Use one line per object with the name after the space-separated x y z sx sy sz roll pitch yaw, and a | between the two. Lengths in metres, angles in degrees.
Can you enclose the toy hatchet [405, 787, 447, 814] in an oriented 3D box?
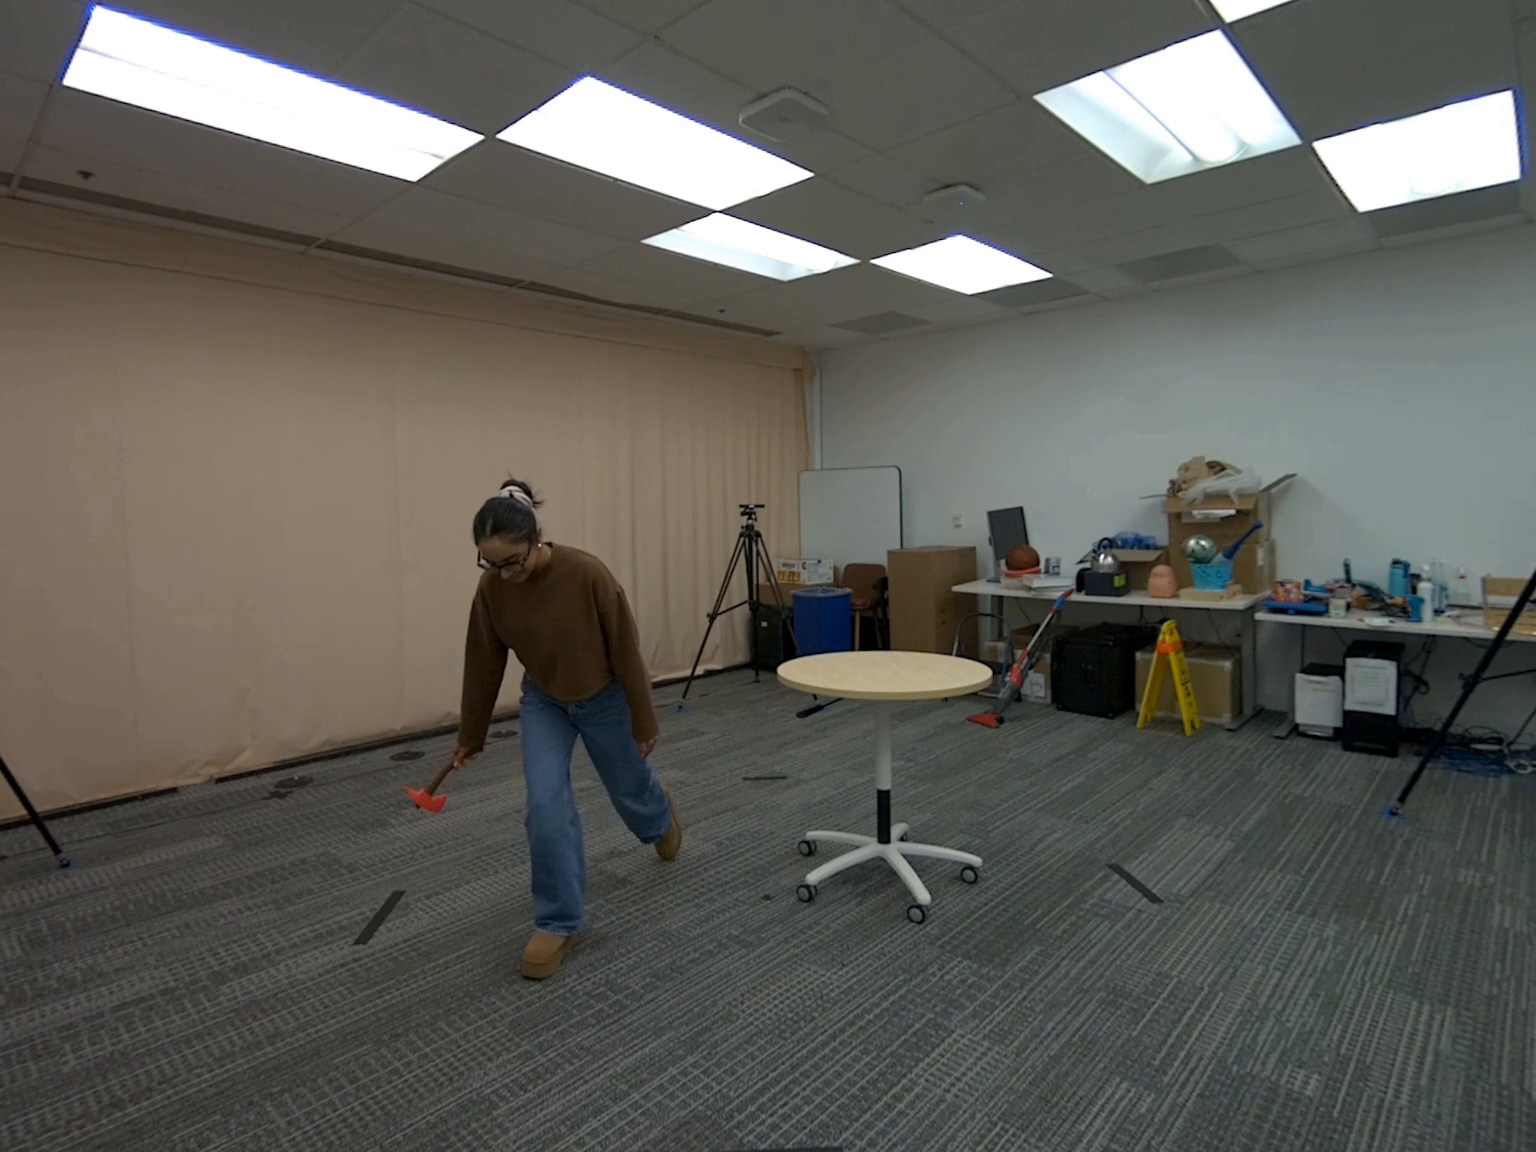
-1.010 0.661 2.712 0.267 0.130 0.030 -30 5 -20 | toy hatchet
